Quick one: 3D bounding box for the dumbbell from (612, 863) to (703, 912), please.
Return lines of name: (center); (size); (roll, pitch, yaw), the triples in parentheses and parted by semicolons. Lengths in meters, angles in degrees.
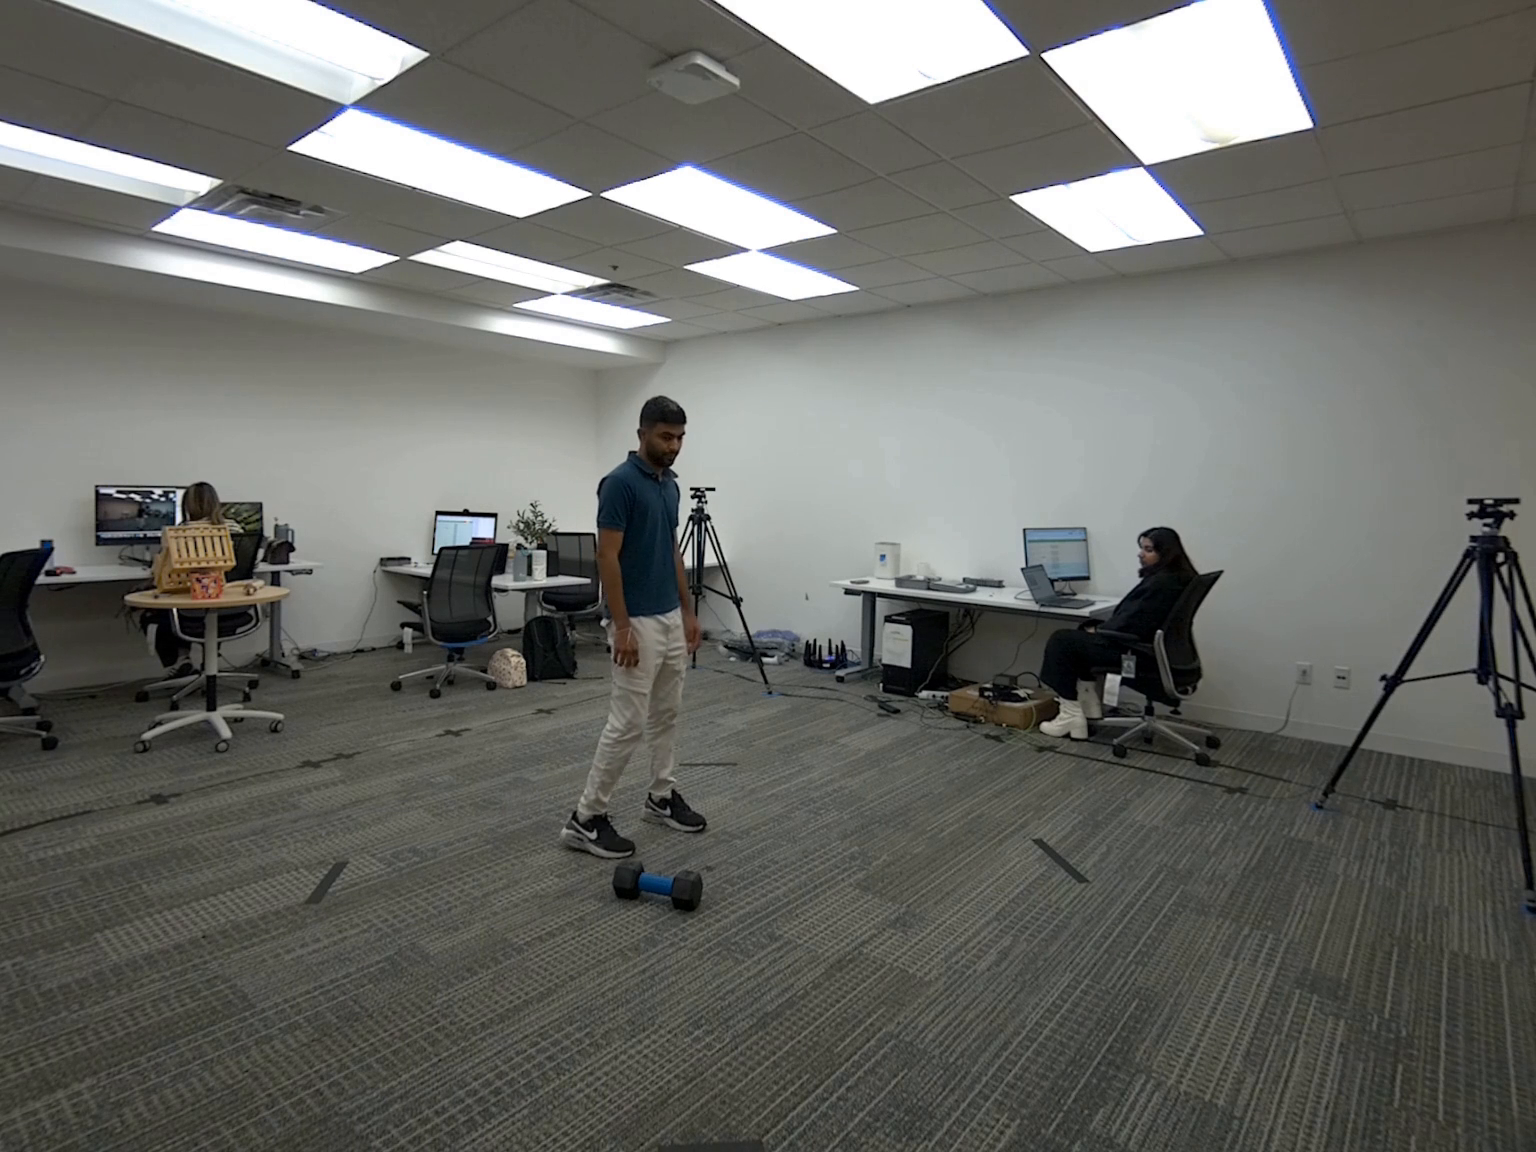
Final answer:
dumbbell: (-0.380, 1.036, 2.852); (0.299, 0.119, 0.110); (2, 34, 17)
